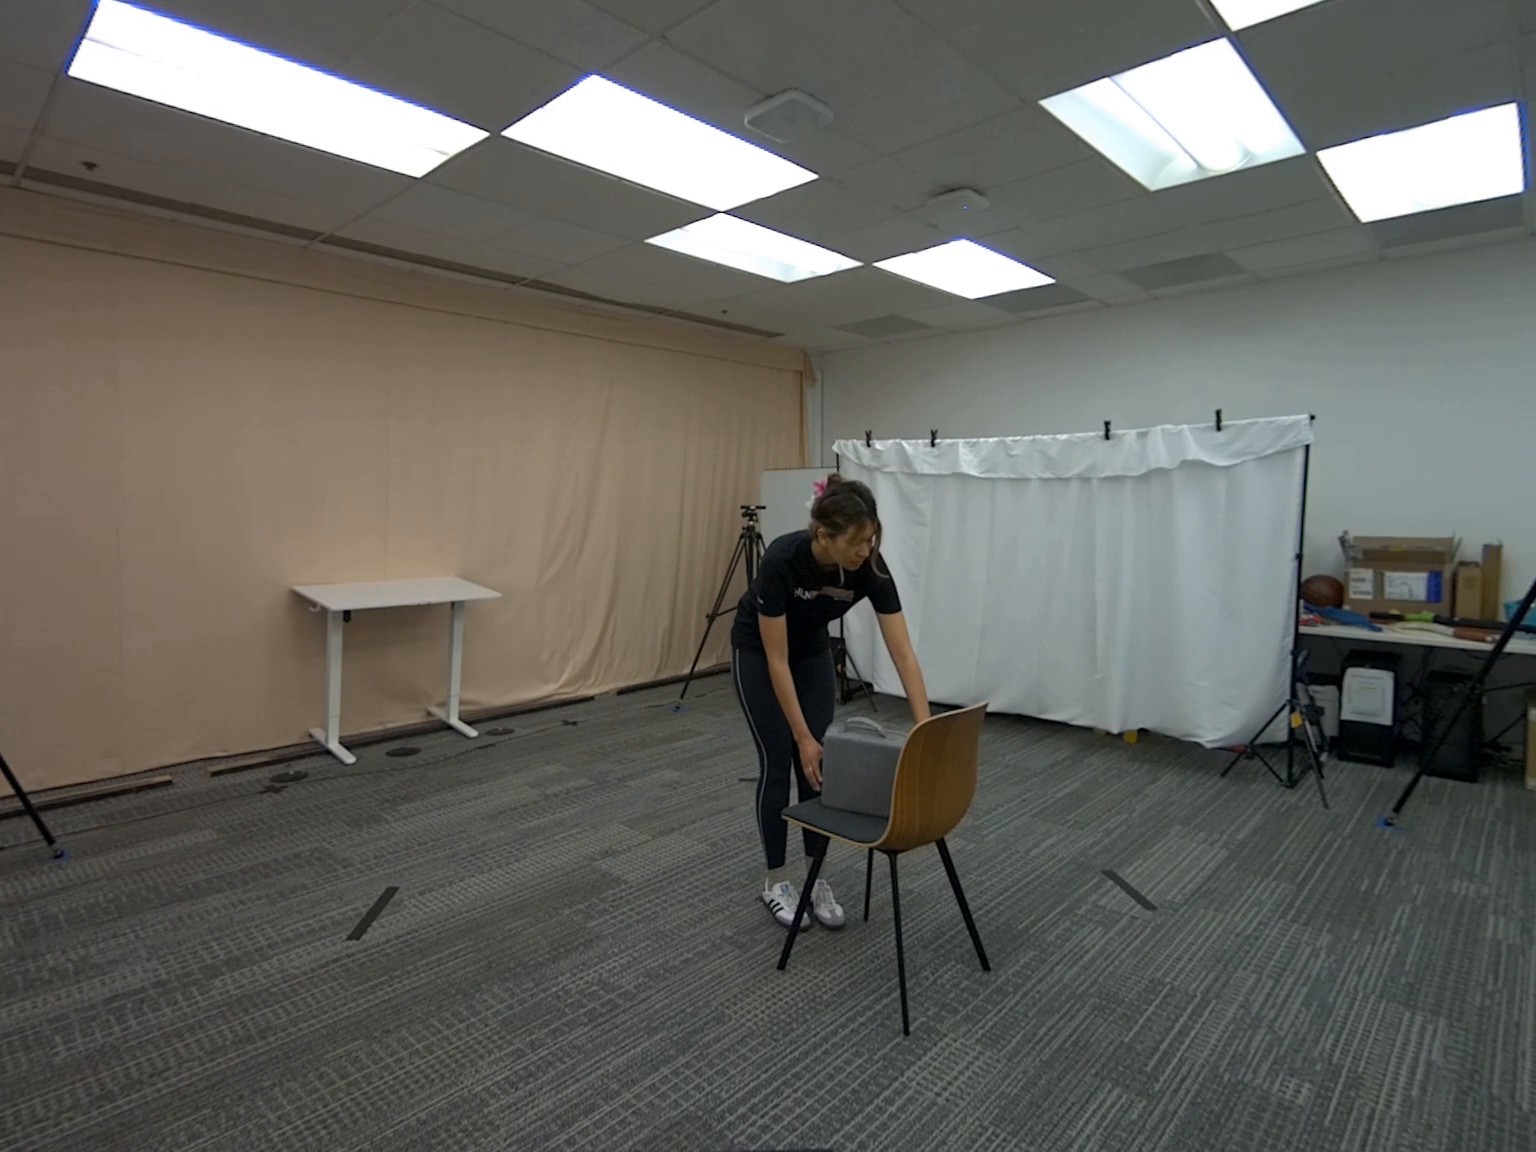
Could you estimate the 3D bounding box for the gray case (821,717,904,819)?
[{"bbox_3d":[0.306,0.577,2.515,0.263,0.258,0.103,5,14,22],"label":"gray case"}]
